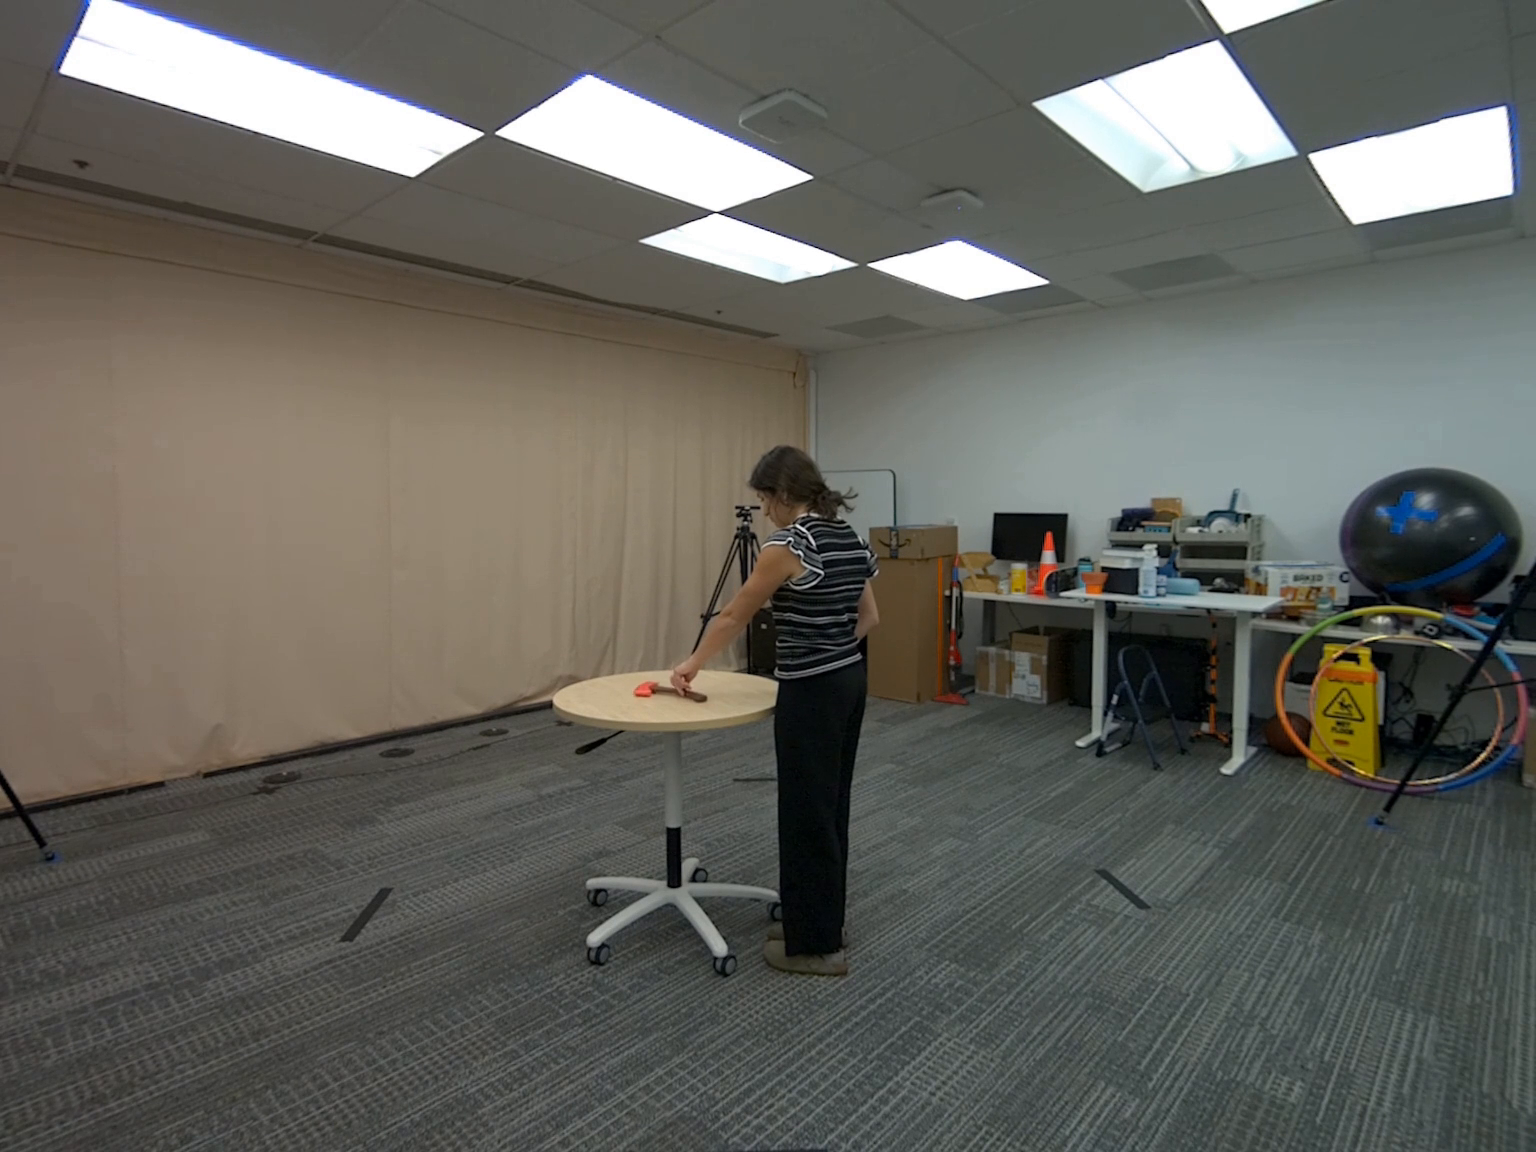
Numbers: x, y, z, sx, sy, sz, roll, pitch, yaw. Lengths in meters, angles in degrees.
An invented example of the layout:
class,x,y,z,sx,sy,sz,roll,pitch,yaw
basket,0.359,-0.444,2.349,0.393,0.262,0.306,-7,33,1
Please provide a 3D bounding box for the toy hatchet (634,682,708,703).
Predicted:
class,x,y,z,sx,sy,sz,roll,pitch,yaw
toy hatchet,-0.314,0.378,2.681,0.127,0.029,0.279,-4,9,-39
